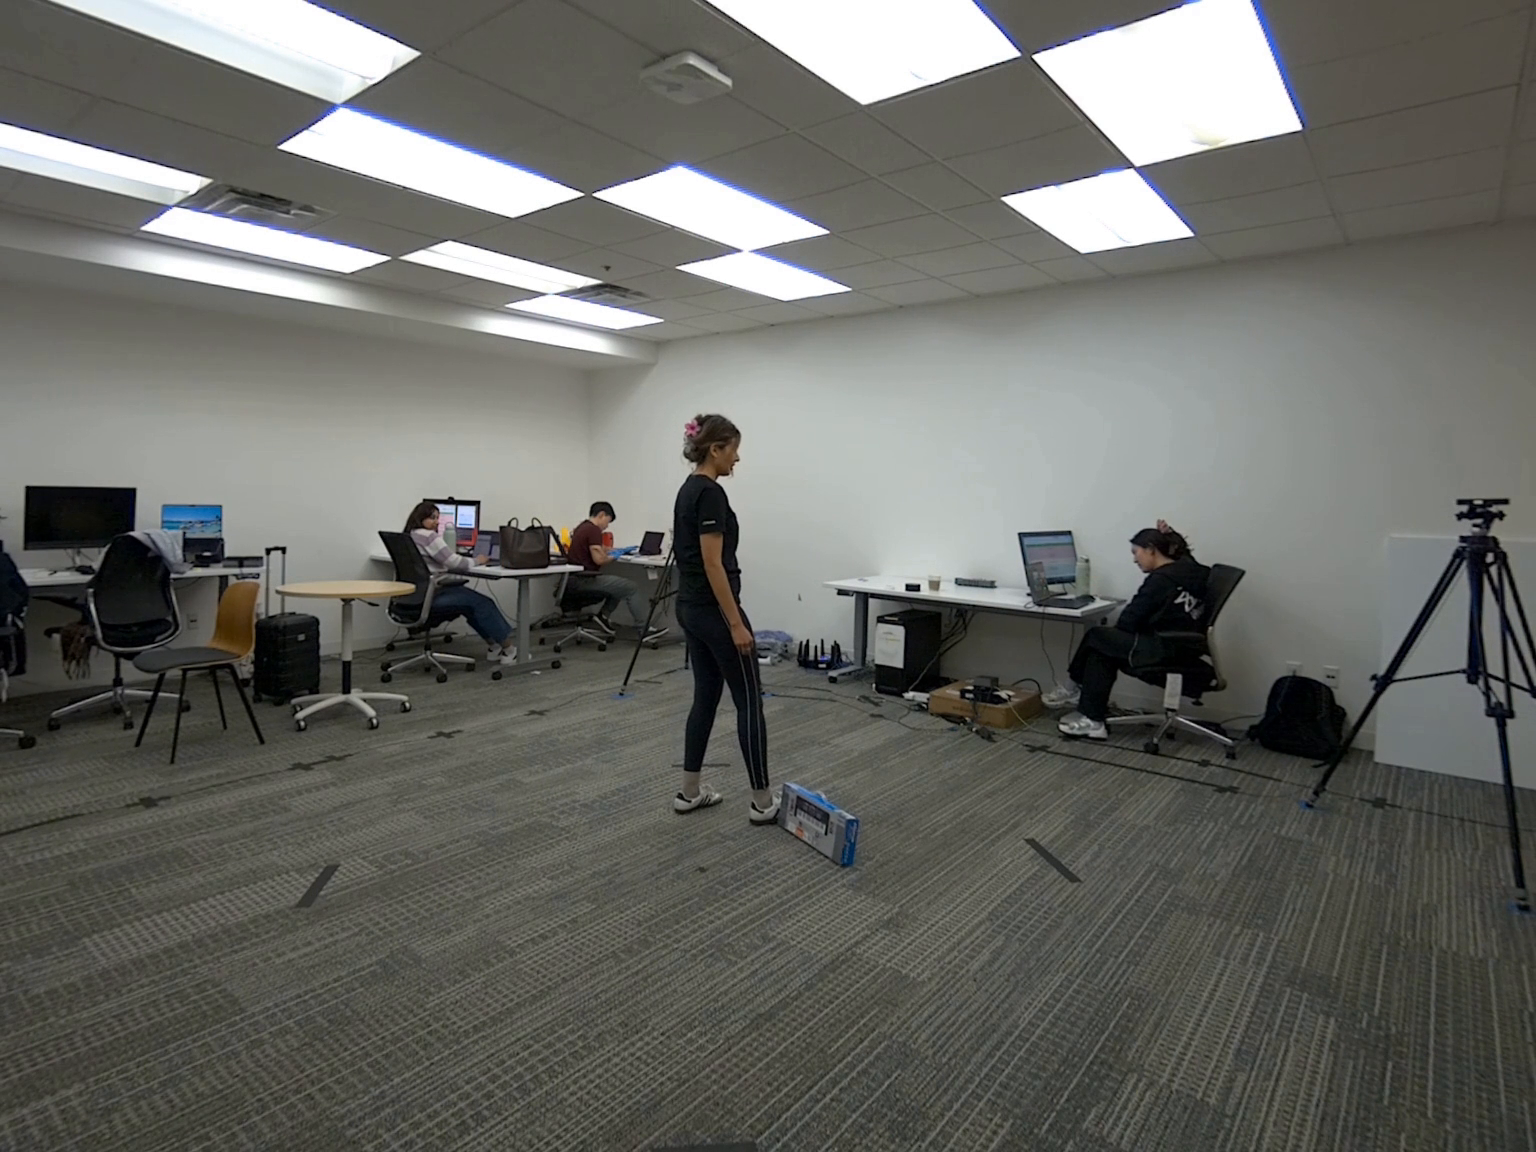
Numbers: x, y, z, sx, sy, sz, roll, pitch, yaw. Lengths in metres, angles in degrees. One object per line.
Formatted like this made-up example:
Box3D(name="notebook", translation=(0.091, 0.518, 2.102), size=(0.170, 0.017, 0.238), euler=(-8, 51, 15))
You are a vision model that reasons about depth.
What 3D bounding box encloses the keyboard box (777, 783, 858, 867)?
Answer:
Box3D(name="keyboard box", translation=(0.183, 0.966, 3.357), size=(0.057, 0.176, 0.450), euler=(9, 1, -32))
